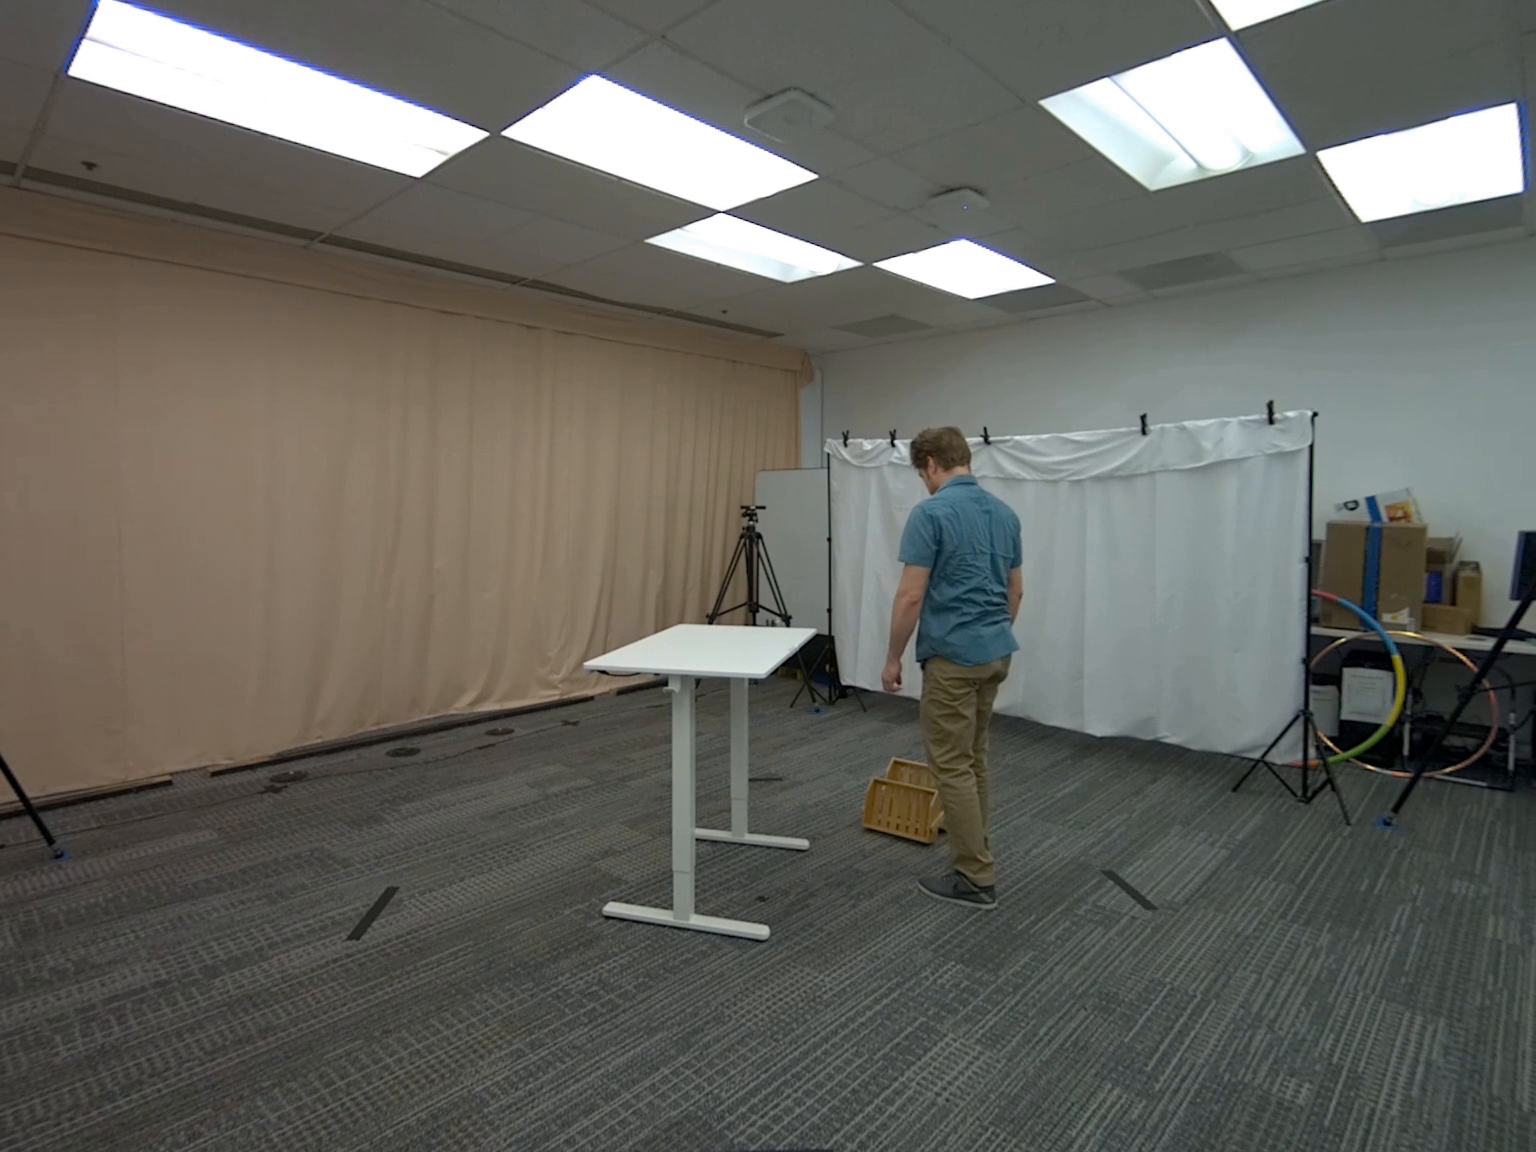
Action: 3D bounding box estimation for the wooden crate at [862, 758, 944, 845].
[{"bbox_3d":[0.618,0.953,3.625,0.335,0.303,0.263,3,-12,35],"label":"wooden crate"}]
